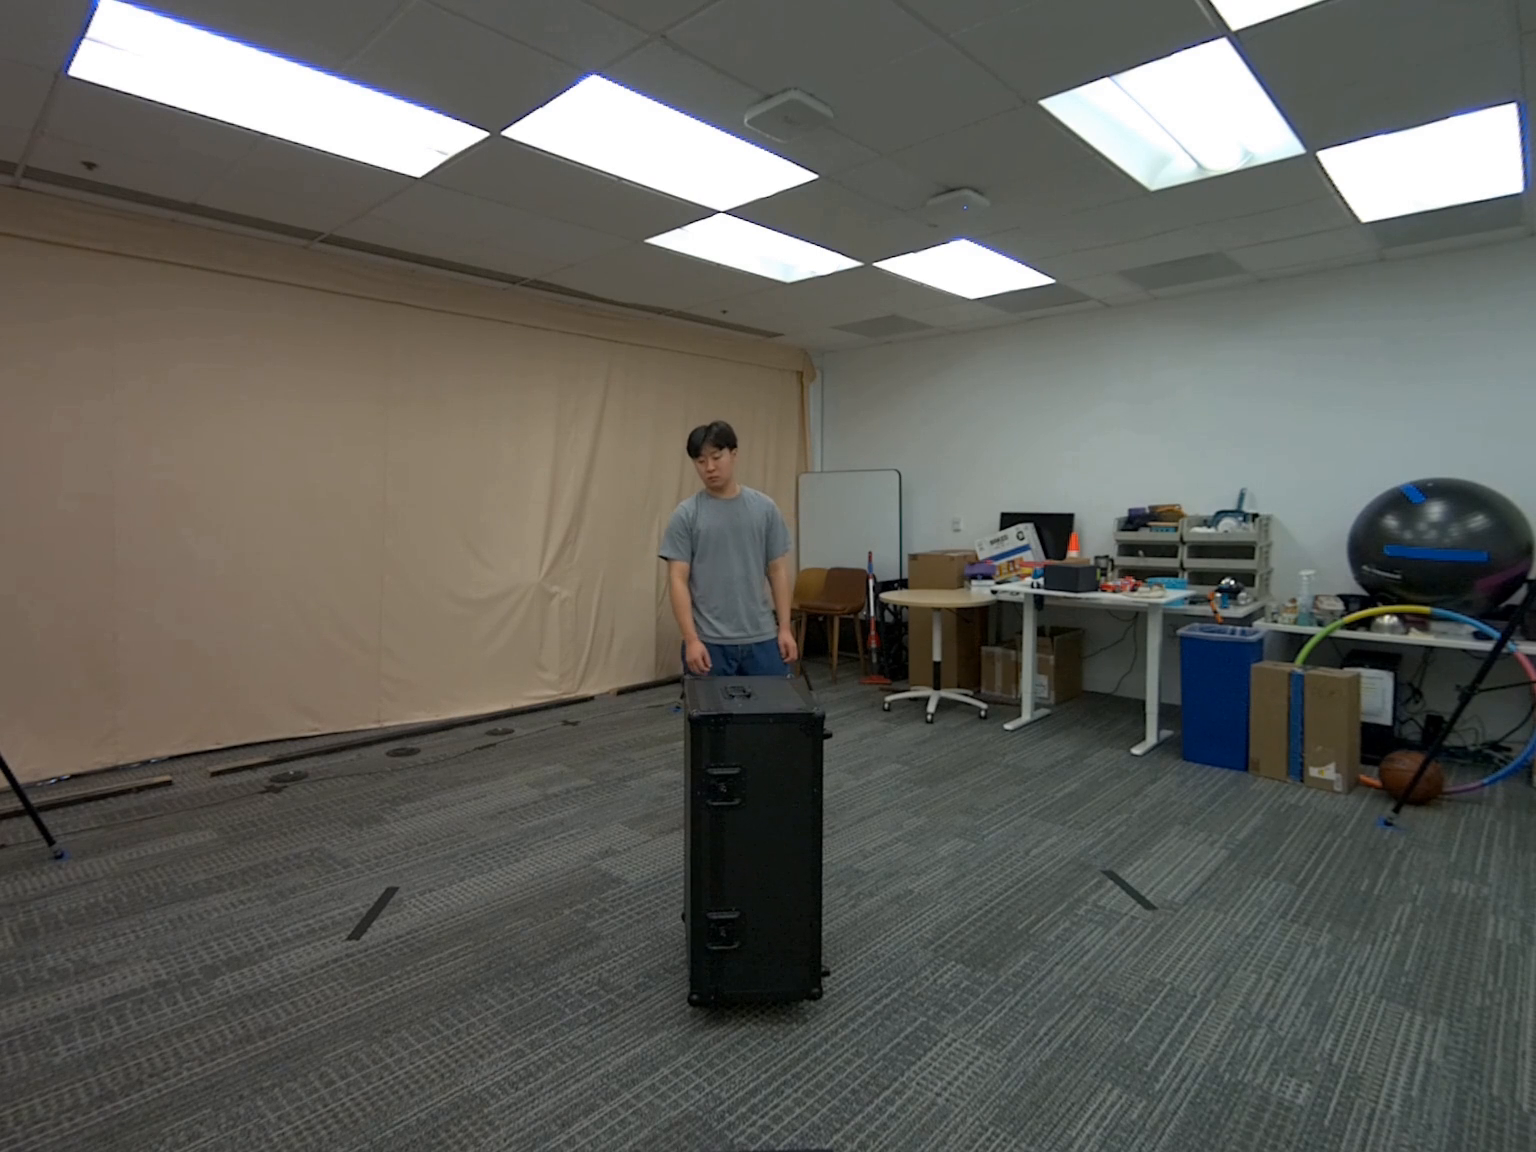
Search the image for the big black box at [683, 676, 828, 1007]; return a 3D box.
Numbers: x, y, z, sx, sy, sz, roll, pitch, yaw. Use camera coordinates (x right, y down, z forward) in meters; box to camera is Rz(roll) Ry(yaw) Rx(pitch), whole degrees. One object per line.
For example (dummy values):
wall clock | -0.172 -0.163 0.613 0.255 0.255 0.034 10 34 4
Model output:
big black box | -0.049 0.756 2.464 0.394 0.860 0.525 0 3 -6
